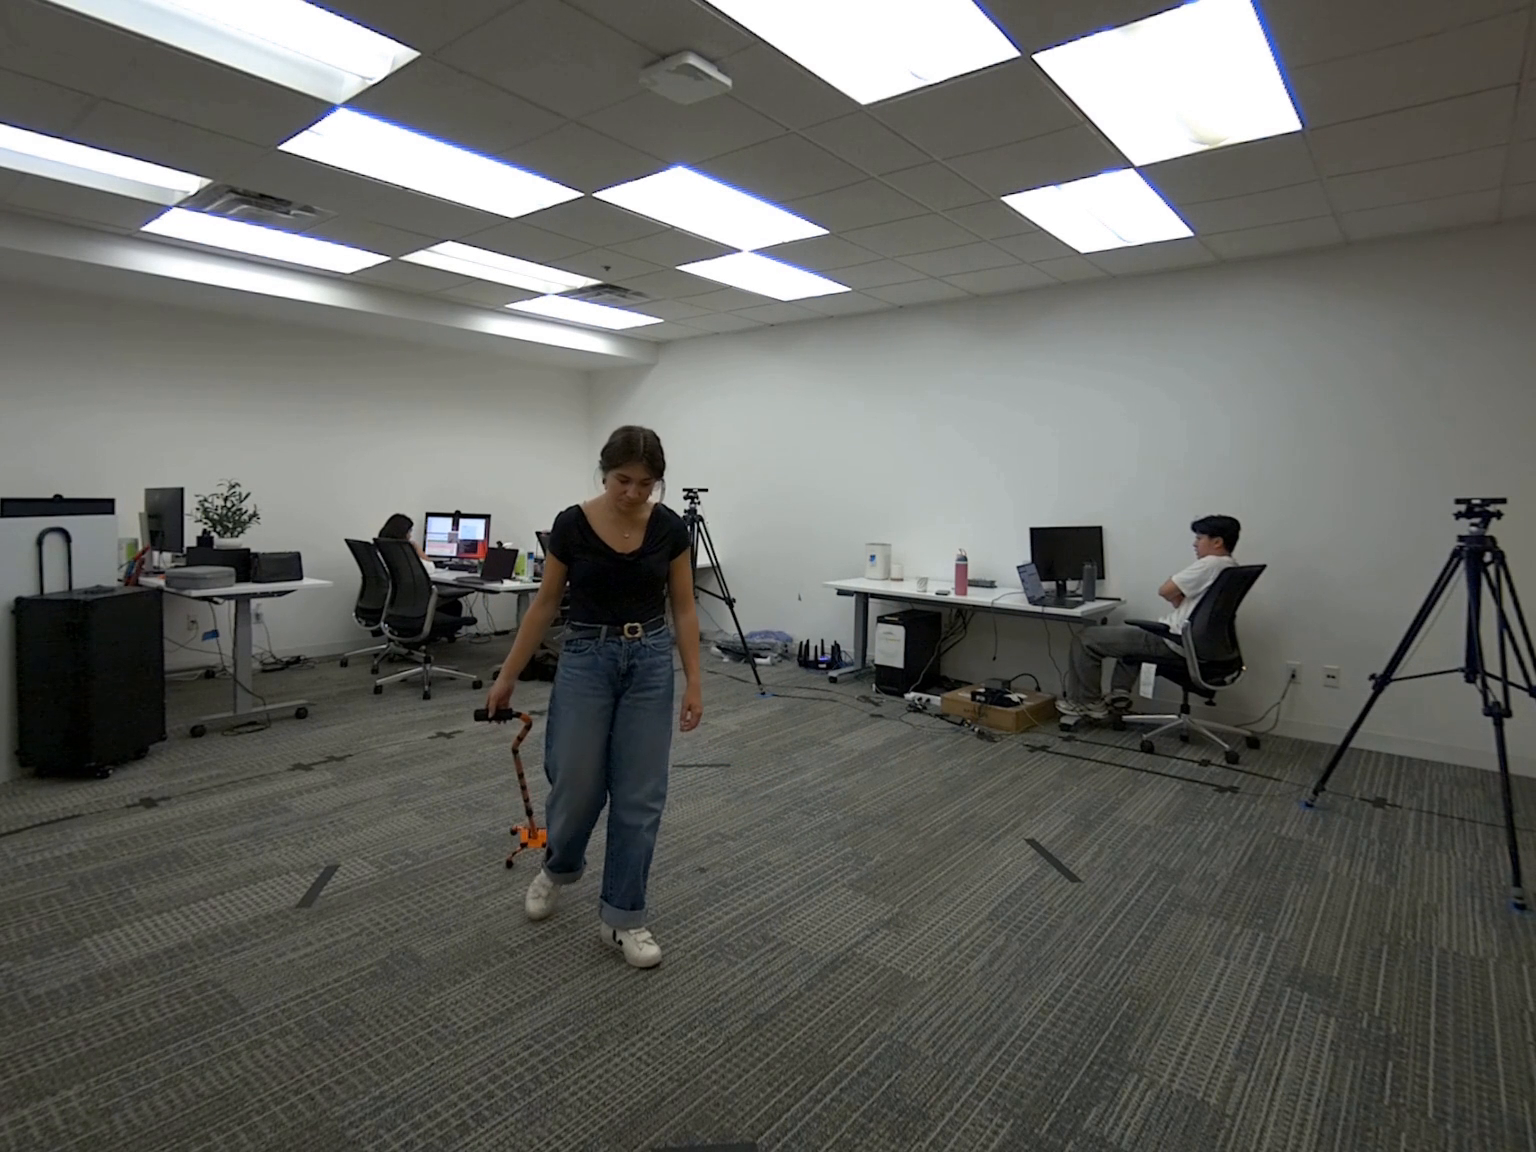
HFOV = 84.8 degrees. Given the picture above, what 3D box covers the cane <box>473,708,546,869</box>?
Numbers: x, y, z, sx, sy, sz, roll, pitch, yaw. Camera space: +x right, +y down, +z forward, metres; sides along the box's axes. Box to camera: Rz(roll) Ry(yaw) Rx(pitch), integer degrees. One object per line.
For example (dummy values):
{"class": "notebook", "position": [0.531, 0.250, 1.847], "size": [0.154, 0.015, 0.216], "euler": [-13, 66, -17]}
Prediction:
{"class": "cane", "position": [-0.829, 0.708, 2.830], "size": [0.206, 0.156, 0.884], "euler": [1, -42, -4]}
